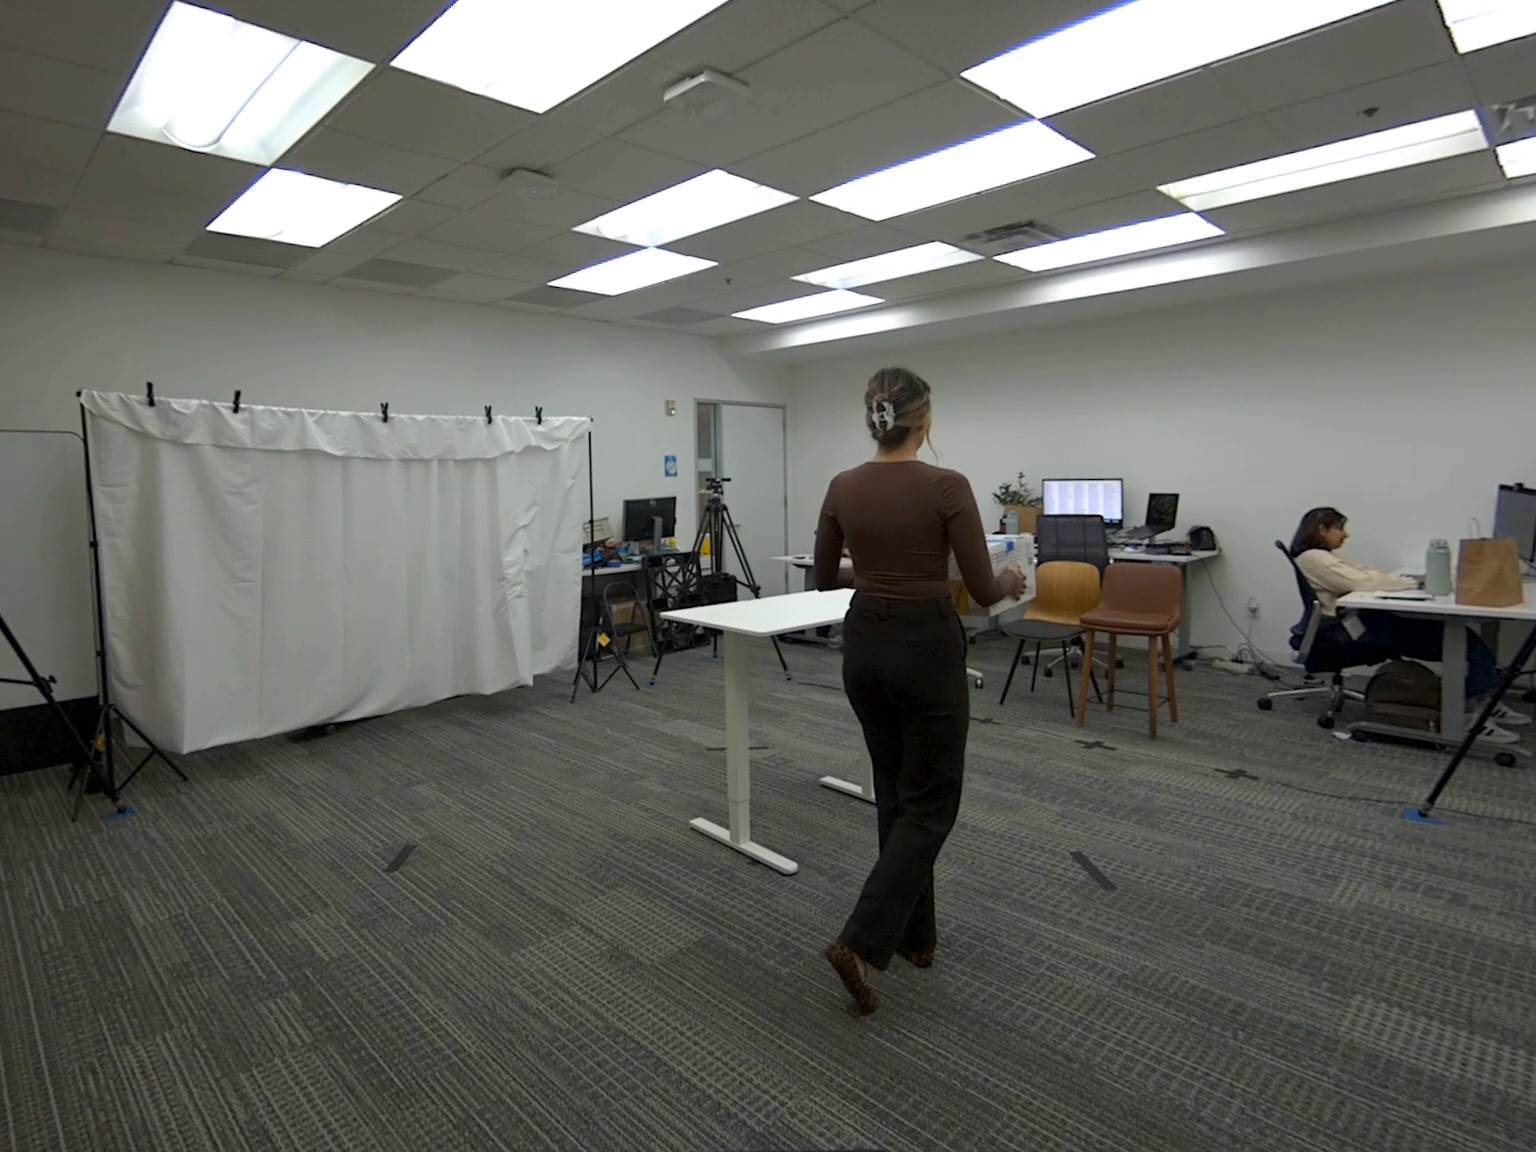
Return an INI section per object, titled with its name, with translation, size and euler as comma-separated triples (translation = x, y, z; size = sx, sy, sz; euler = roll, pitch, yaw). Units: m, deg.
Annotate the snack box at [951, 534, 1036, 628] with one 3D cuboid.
[snack box]
translation = 0.585, -0.011, 2.702
size = 0.417, 0.204, 0.332
euler = 2, 10, 40
